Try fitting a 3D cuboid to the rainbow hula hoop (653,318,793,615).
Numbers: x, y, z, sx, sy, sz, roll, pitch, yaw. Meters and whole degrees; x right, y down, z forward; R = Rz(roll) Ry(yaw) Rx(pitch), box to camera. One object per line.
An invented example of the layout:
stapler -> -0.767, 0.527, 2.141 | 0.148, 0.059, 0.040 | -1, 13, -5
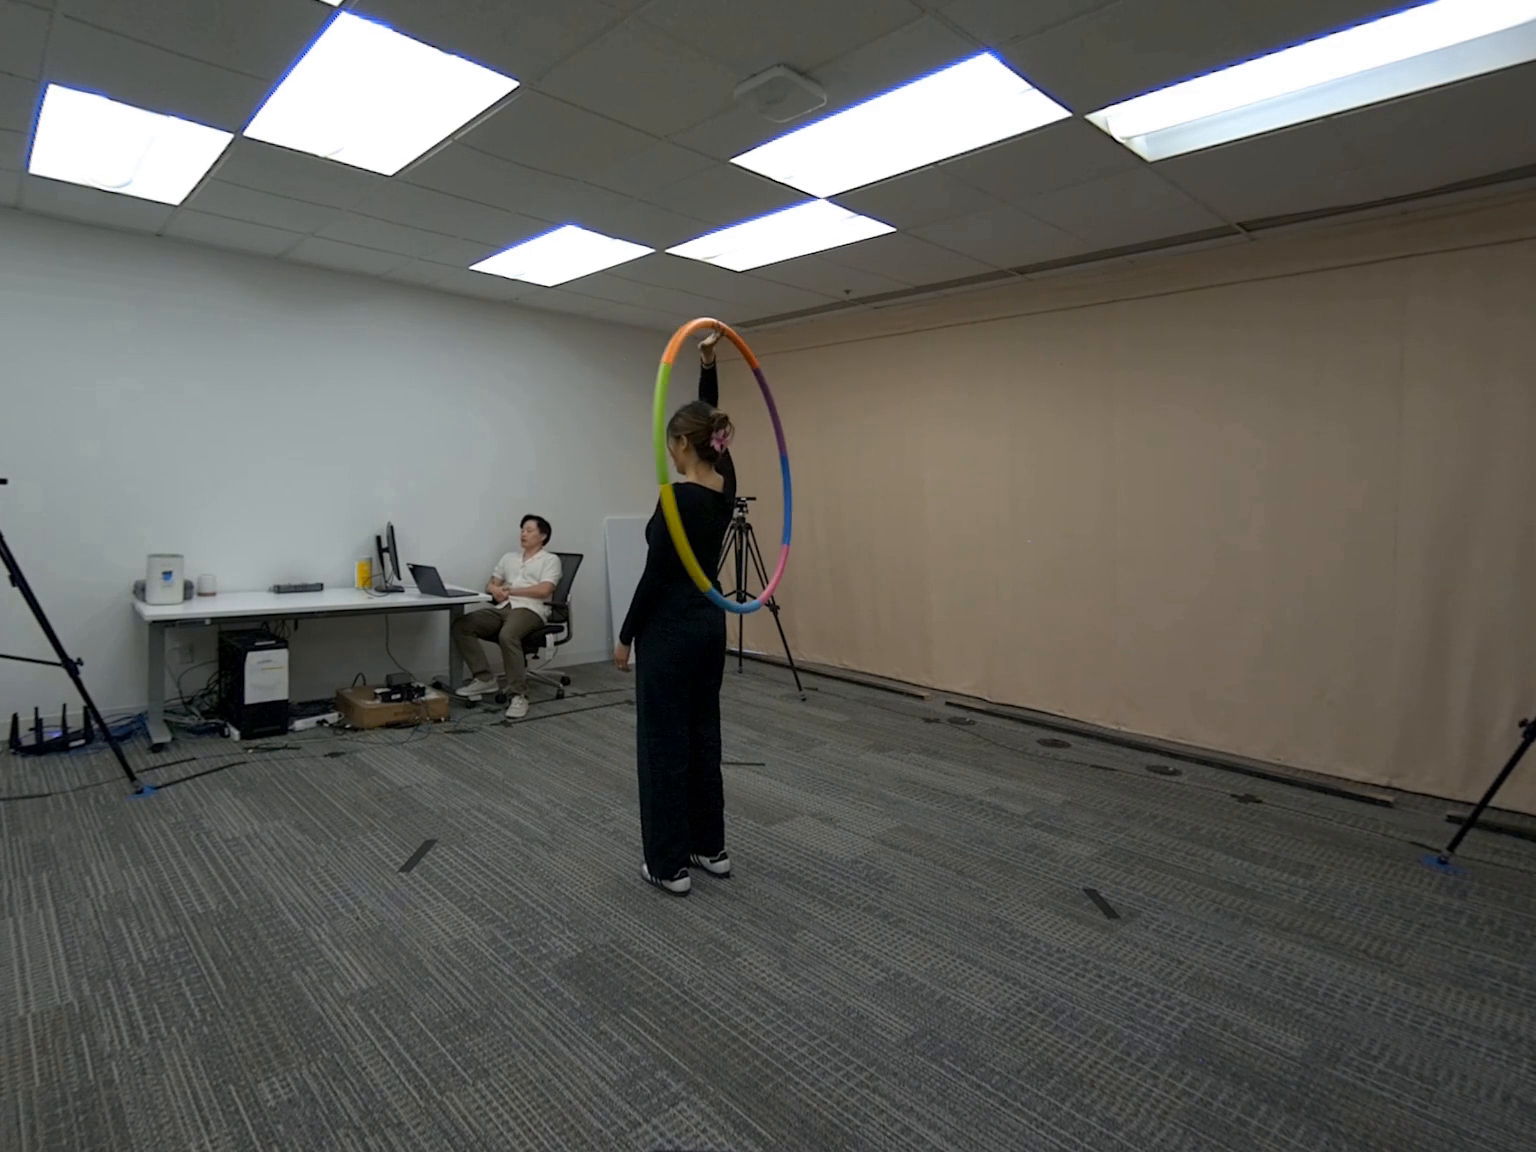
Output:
rainbow hula hoop -> -0.135, -0.371, 2.853 | 0.052, 0.985, 0.970 | -6, 1, 23
